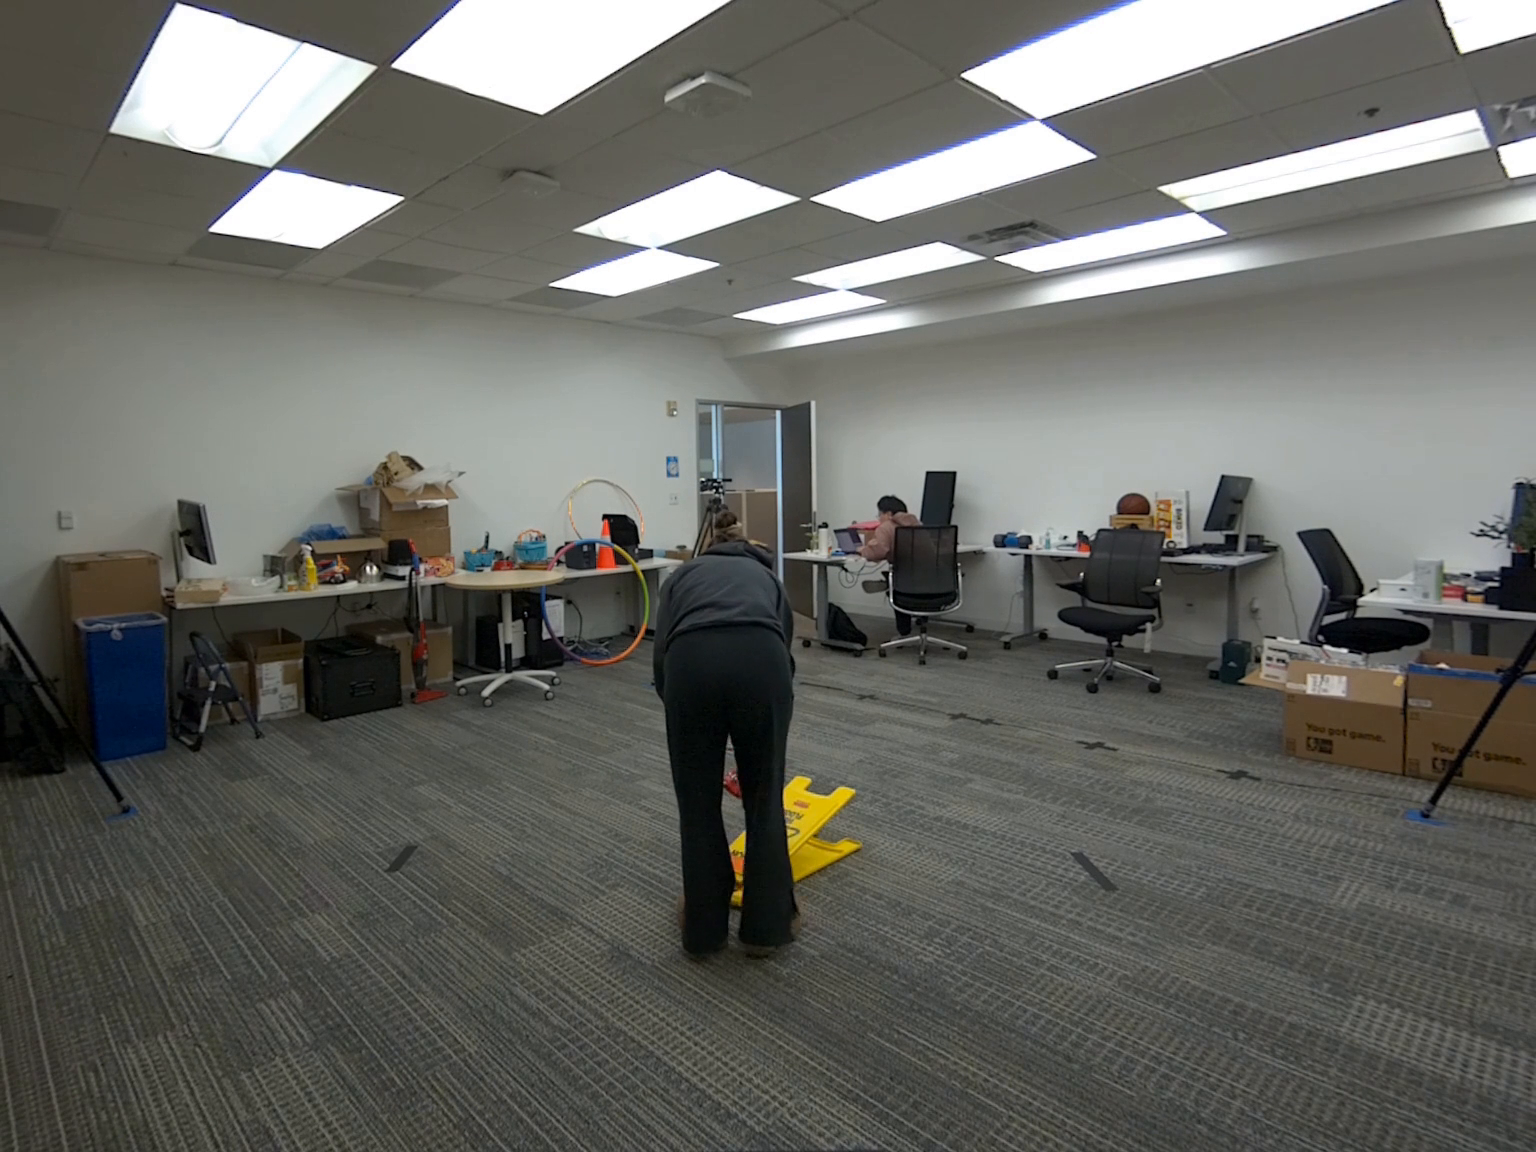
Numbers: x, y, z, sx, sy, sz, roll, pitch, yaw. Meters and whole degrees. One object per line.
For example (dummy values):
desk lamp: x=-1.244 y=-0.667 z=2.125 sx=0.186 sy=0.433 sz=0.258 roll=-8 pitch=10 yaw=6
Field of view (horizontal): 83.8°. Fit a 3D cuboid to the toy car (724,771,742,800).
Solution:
toy car: x=-0.047 y=0.680 z=2.842 sx=0.135 sy=0.082 sz=0.247 roll=25 pitch=14 yaw=35
